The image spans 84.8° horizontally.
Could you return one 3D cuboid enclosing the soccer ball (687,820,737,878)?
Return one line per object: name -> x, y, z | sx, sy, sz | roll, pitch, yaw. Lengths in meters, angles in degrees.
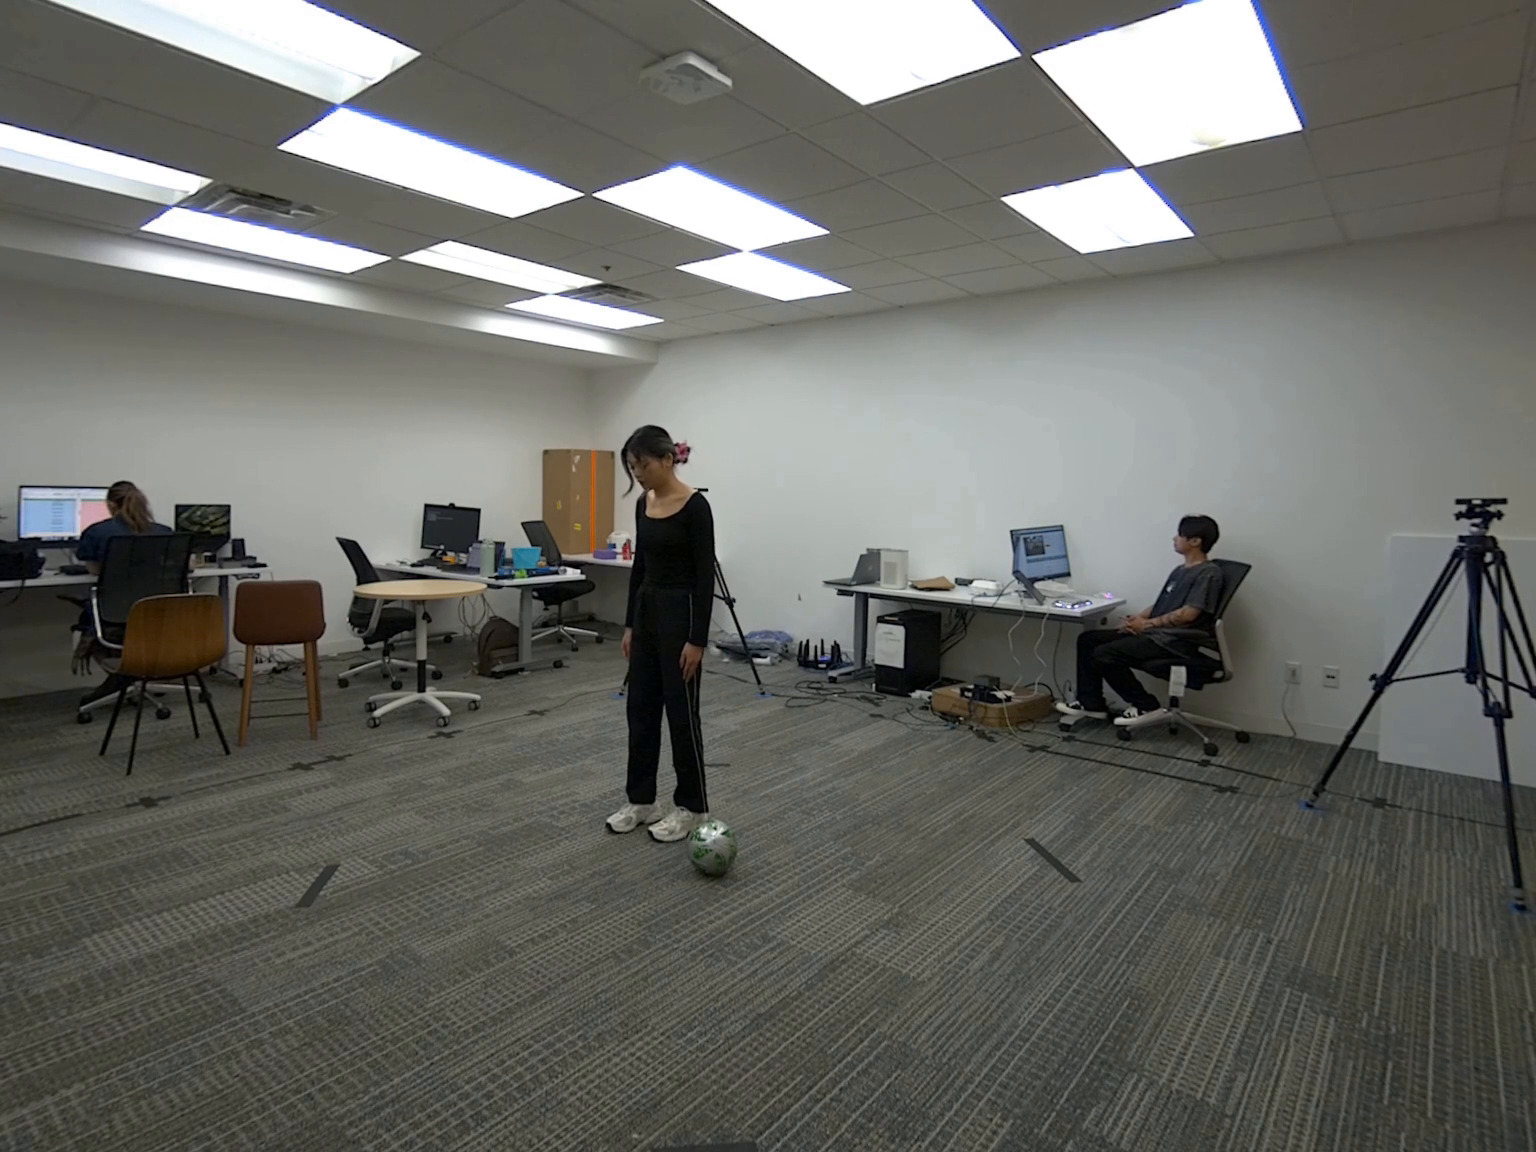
soccer ball -> -0.208, 0.978, 3.081 | 0.187, 0.187, 0.188 | 1, 4, -2
